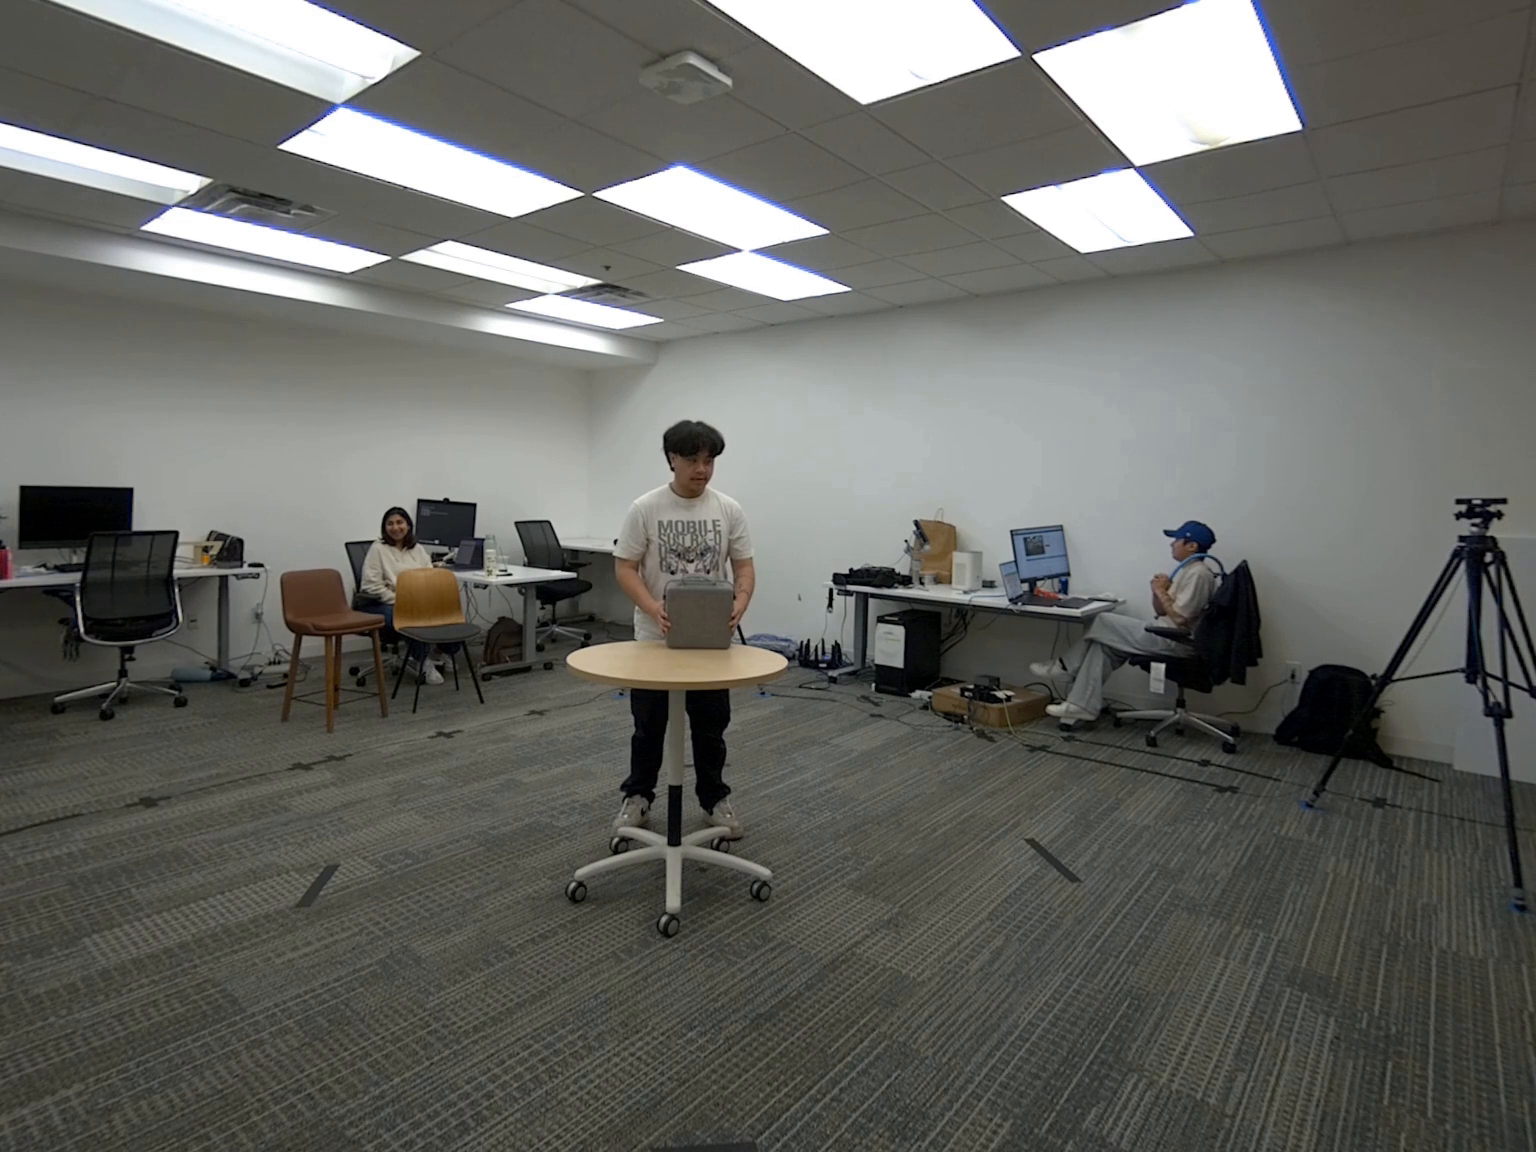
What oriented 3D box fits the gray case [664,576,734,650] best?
[{"bbox_3d":[-0.268,0.131,3.163,0.255,0.257,0.106,0,13,-5],"label":"gray case"}]
